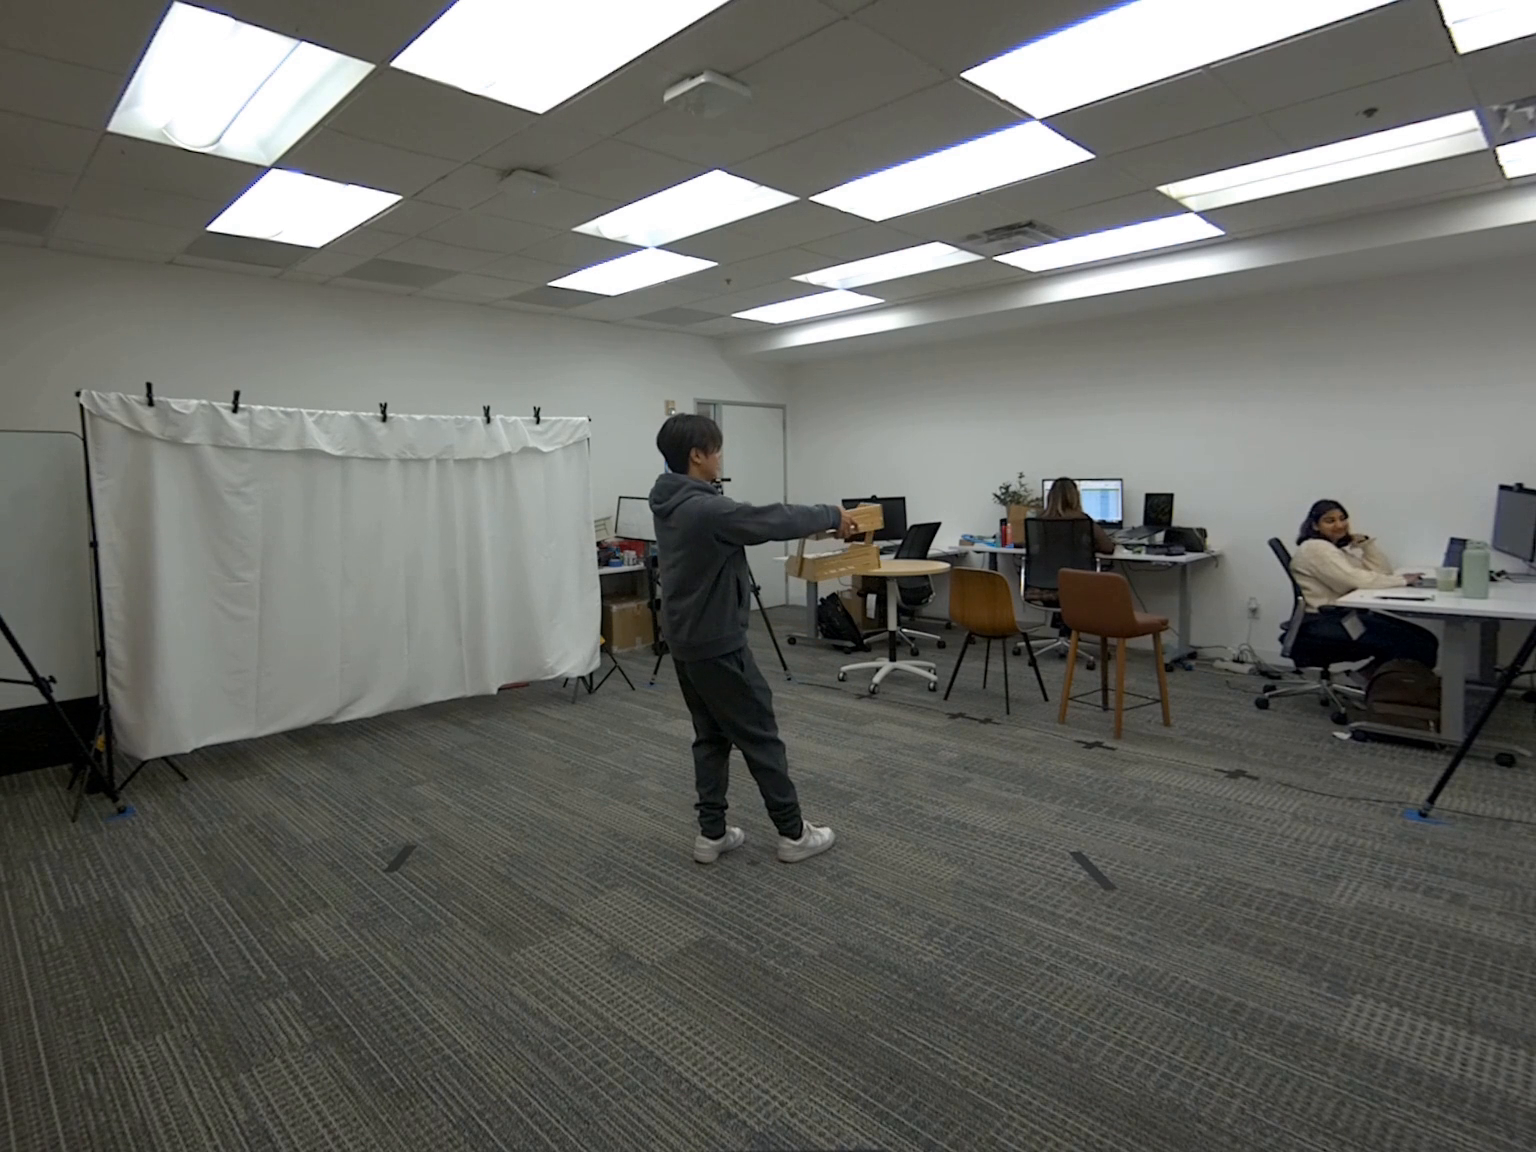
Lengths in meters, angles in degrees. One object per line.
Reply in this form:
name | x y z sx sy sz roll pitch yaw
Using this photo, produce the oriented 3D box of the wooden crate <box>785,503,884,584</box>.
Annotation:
wooden crate | 0.264 -0.143 3.430 0.319 0.270 0.310 -12 12 -21
